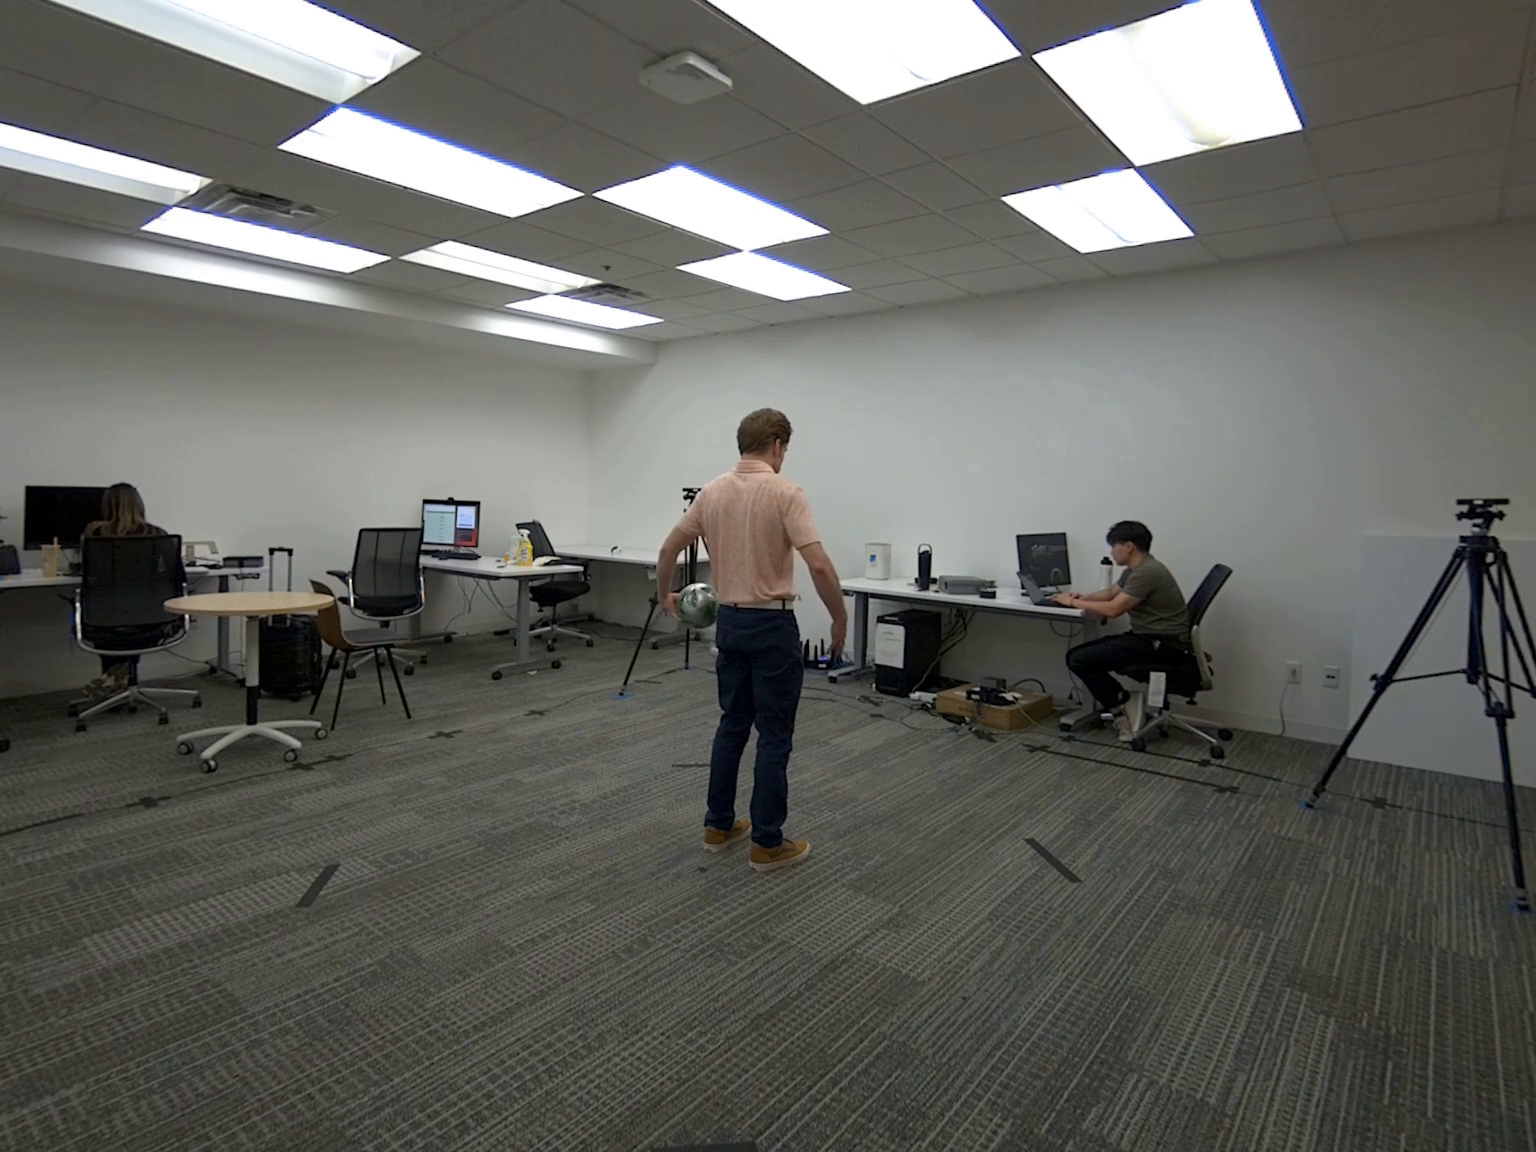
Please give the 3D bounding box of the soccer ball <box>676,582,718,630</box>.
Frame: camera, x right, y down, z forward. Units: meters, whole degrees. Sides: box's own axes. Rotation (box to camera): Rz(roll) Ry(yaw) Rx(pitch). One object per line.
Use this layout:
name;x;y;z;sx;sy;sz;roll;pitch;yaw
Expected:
soccer ball;-0.275;0.113;3.452;0.187;0.187;0.188;1;4;-2
